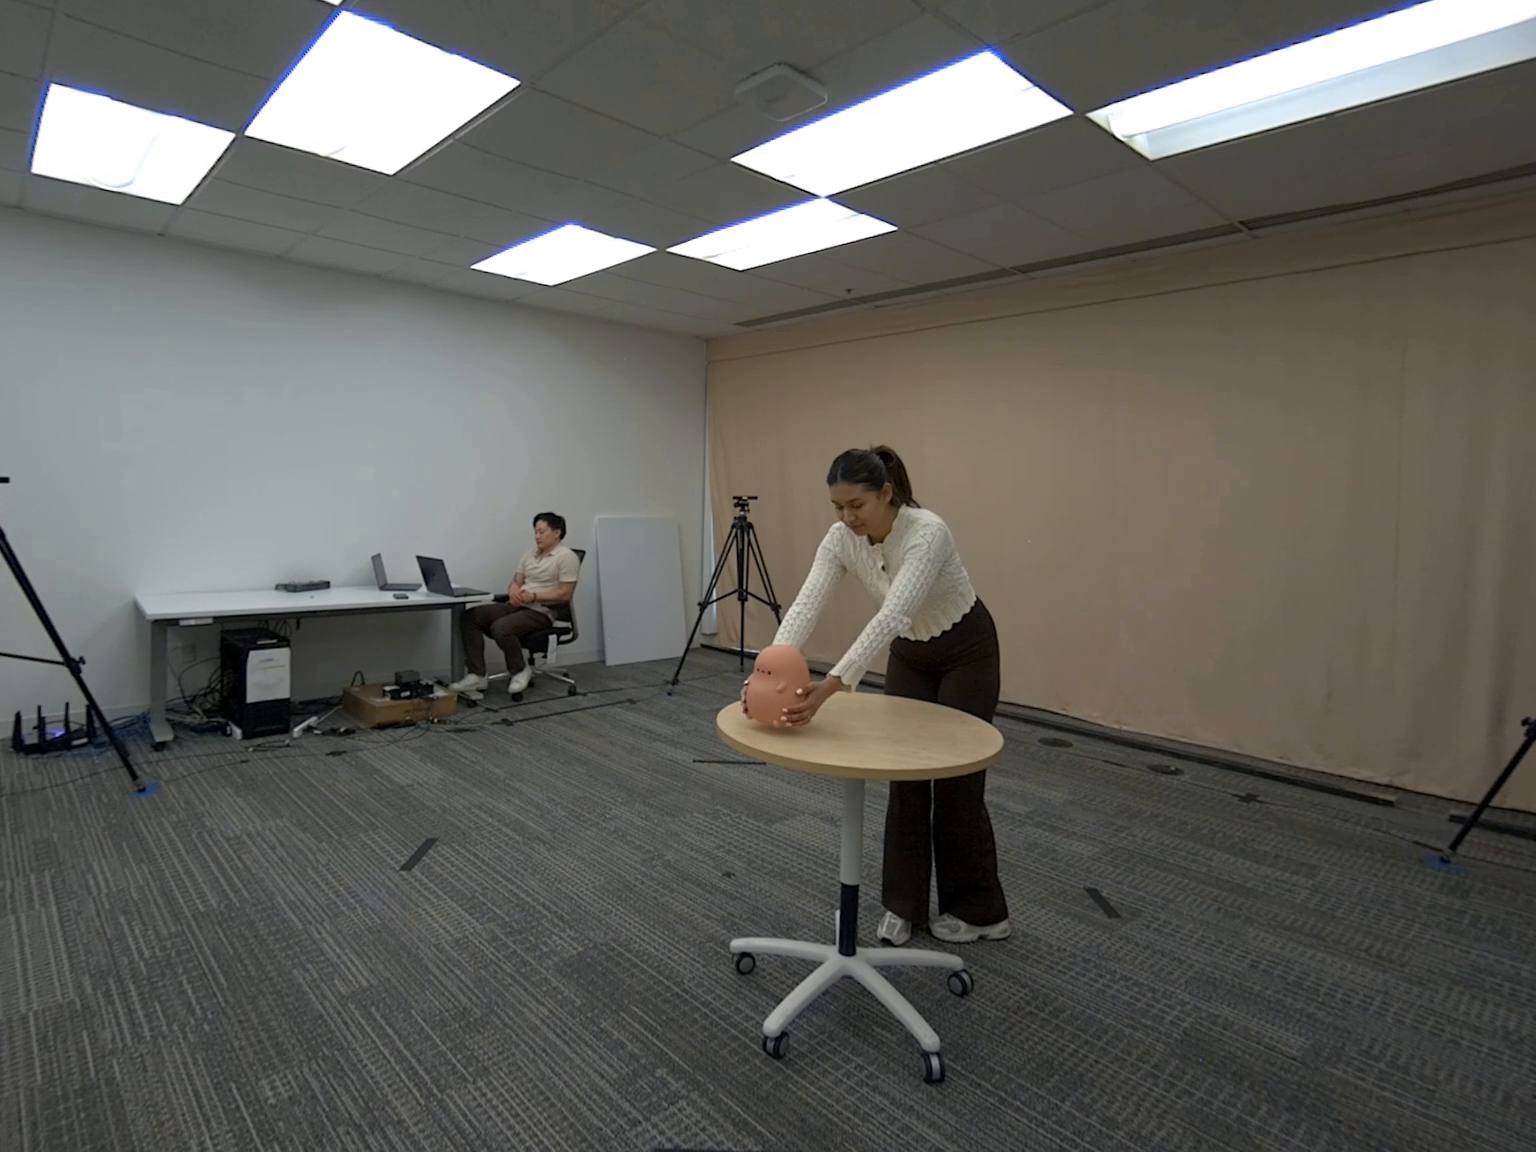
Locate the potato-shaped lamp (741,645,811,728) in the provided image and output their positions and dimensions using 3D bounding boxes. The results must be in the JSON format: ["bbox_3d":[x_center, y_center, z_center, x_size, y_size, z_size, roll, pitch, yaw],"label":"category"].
[{"bbox_3d":[0.022,0.284,2.196,0.168,0.197,0.169,-5,7,-38],"label":"potato-shaped lamp"}]
